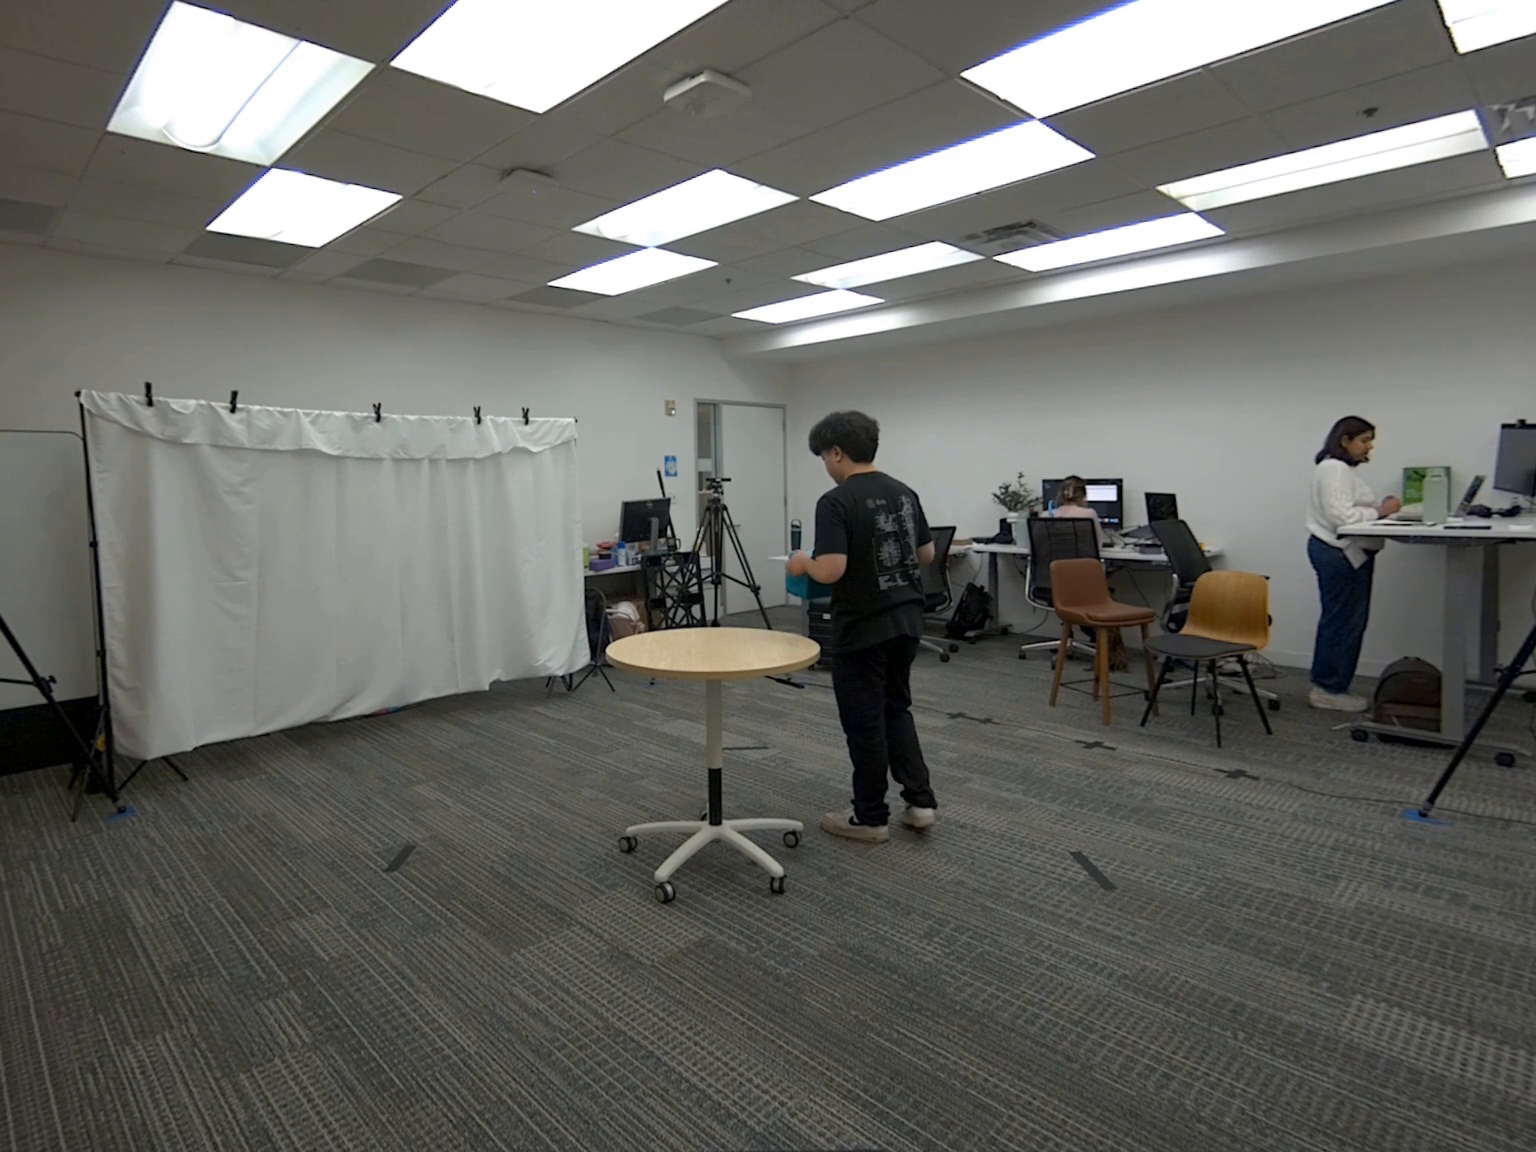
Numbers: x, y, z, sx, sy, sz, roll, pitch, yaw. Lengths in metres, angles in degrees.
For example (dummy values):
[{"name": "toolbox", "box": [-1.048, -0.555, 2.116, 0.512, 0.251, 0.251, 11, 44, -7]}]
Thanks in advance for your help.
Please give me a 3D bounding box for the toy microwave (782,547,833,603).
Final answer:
[{"name": "toy microwave", "box": [0.223, -0.015, 3.502, 0.279, 0.182, 0.158, -6, 15, -40]}]
